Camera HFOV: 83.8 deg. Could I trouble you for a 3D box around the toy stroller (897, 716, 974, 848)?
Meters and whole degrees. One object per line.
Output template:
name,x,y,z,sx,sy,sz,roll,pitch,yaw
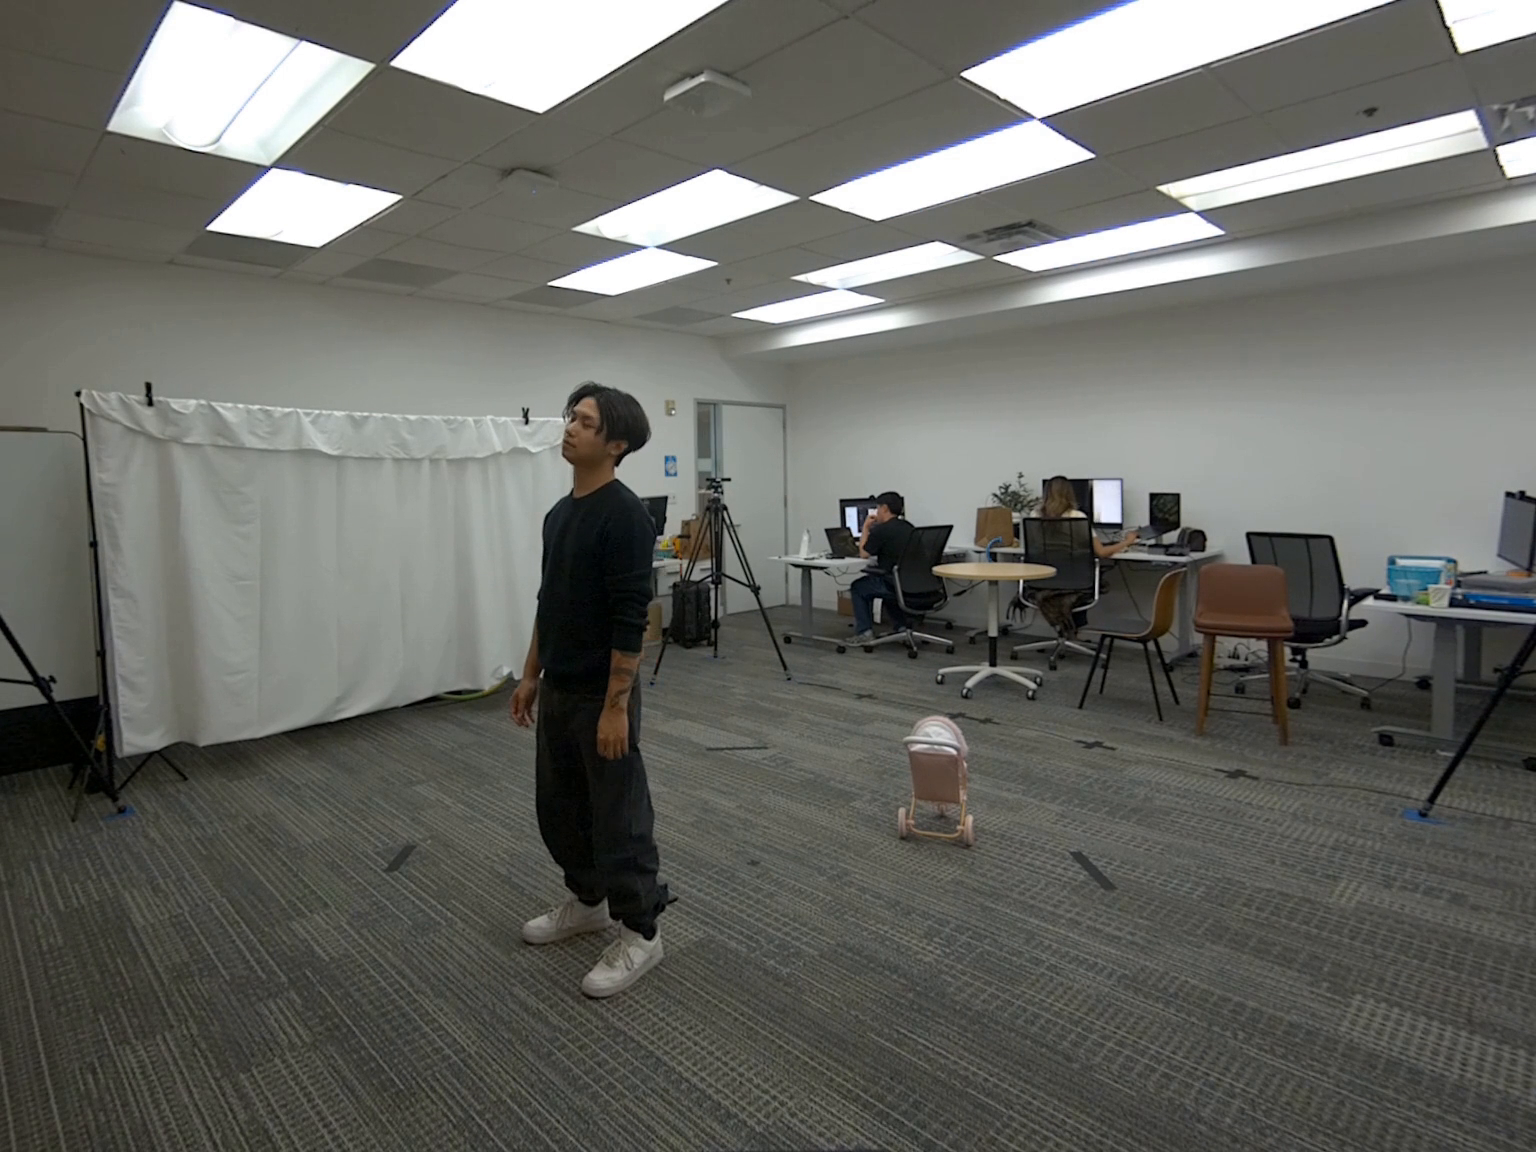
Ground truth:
toy stroller,0.661,0.780,3.320,0.288,0.526,0.340,1,19,23
